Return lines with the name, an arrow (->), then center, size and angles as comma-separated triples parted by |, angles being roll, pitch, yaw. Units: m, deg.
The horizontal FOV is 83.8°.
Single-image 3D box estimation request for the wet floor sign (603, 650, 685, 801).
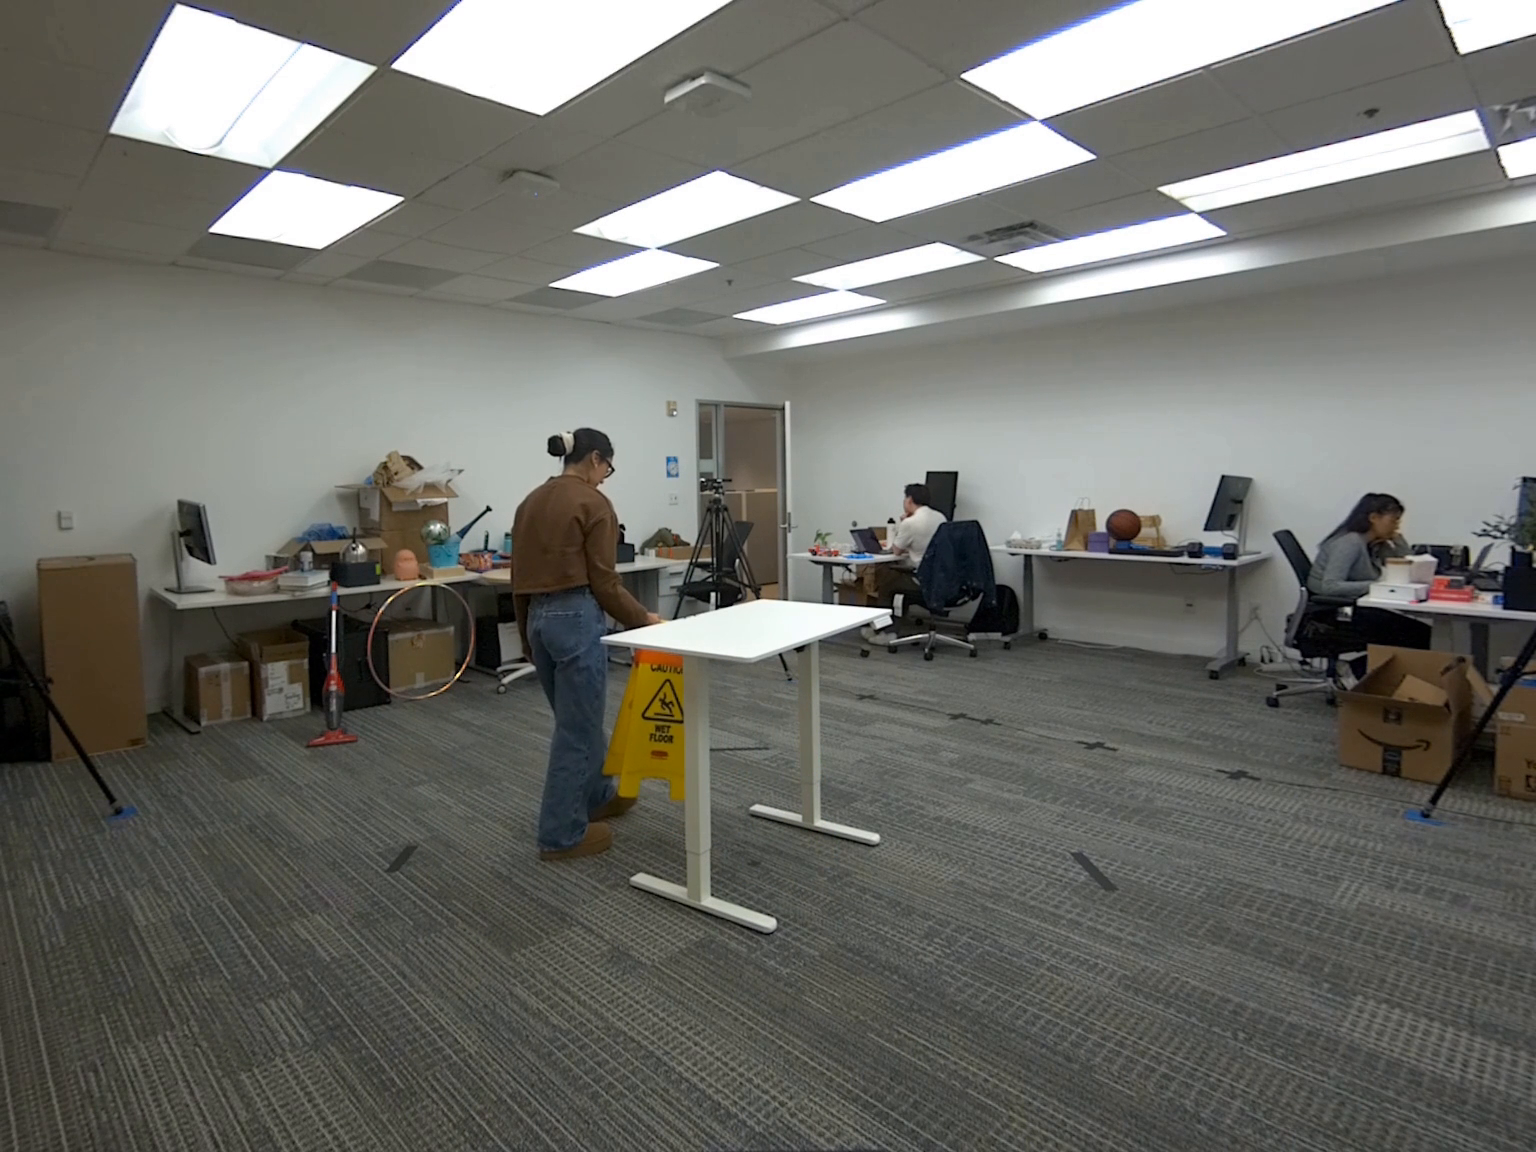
wet floor sign -> -0.424, 0.496, 3.318 | 0.276, 0.646, 0.297 | 9, 1, -24
